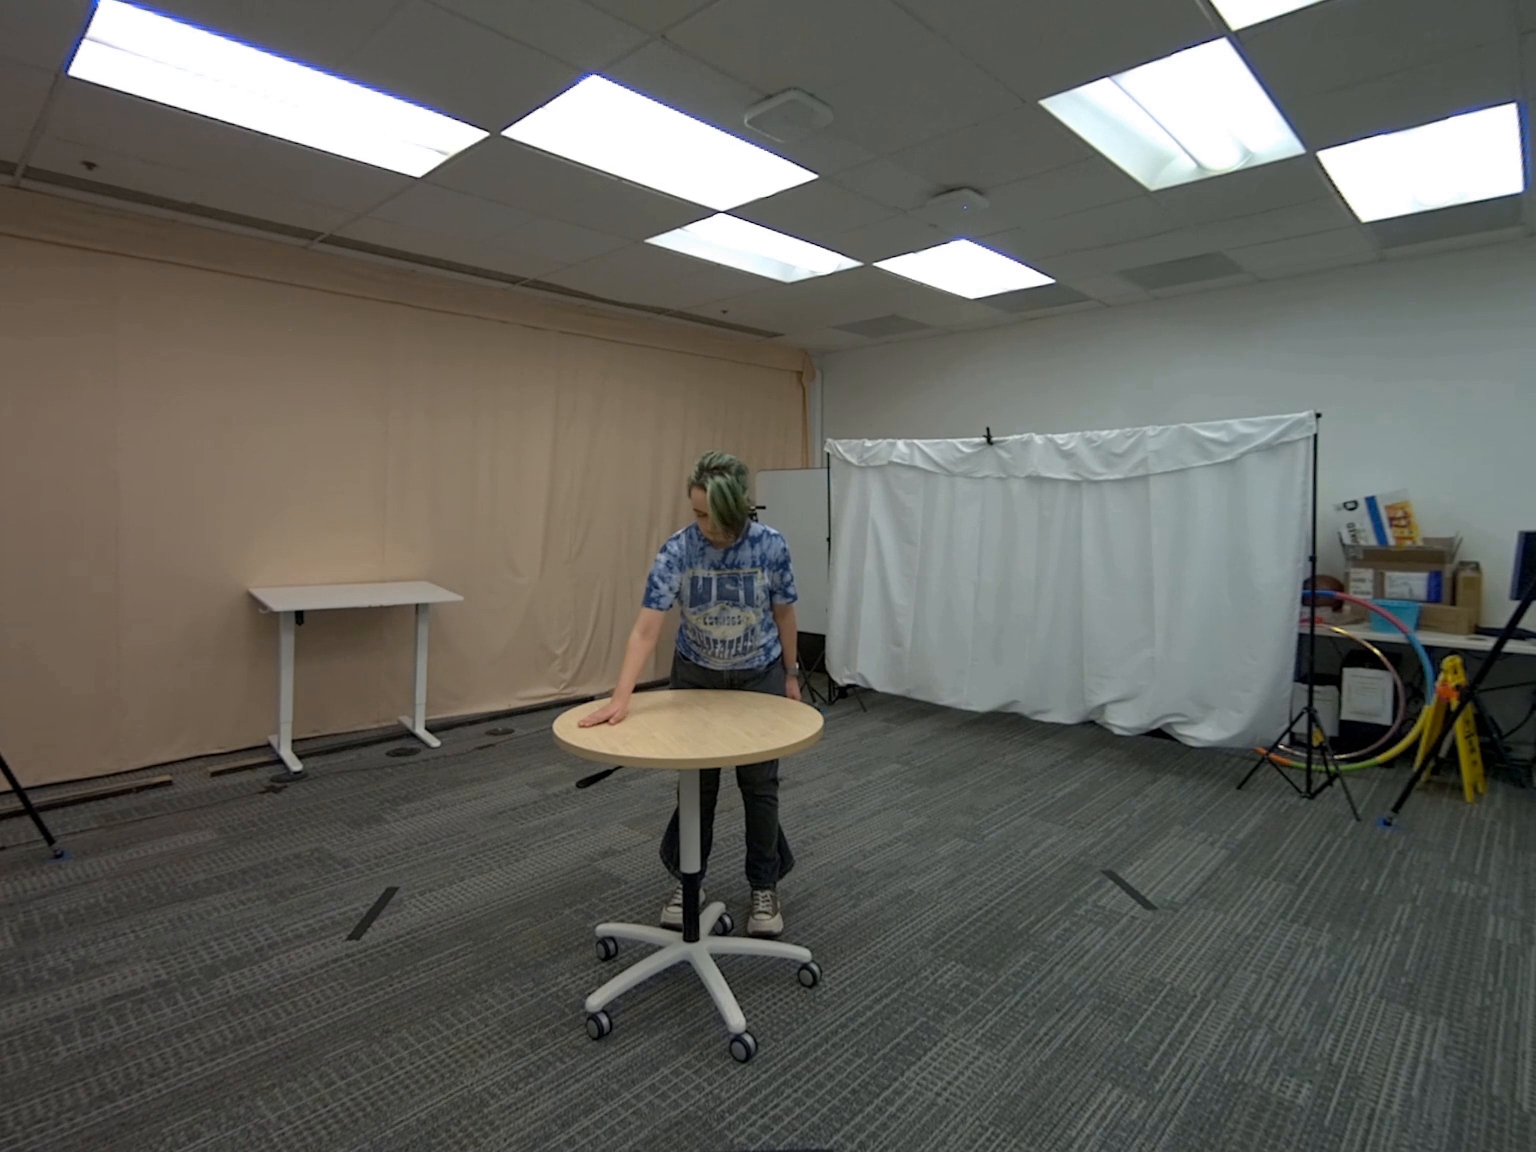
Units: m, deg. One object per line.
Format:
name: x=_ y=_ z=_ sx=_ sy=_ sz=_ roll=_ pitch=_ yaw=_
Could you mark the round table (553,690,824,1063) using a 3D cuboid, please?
round table: x=-0.231 y=0.796 z=2.433 sx=0.784 sy=0.785 sz=0.788 roll=0 pitch=4 yaw=-2
